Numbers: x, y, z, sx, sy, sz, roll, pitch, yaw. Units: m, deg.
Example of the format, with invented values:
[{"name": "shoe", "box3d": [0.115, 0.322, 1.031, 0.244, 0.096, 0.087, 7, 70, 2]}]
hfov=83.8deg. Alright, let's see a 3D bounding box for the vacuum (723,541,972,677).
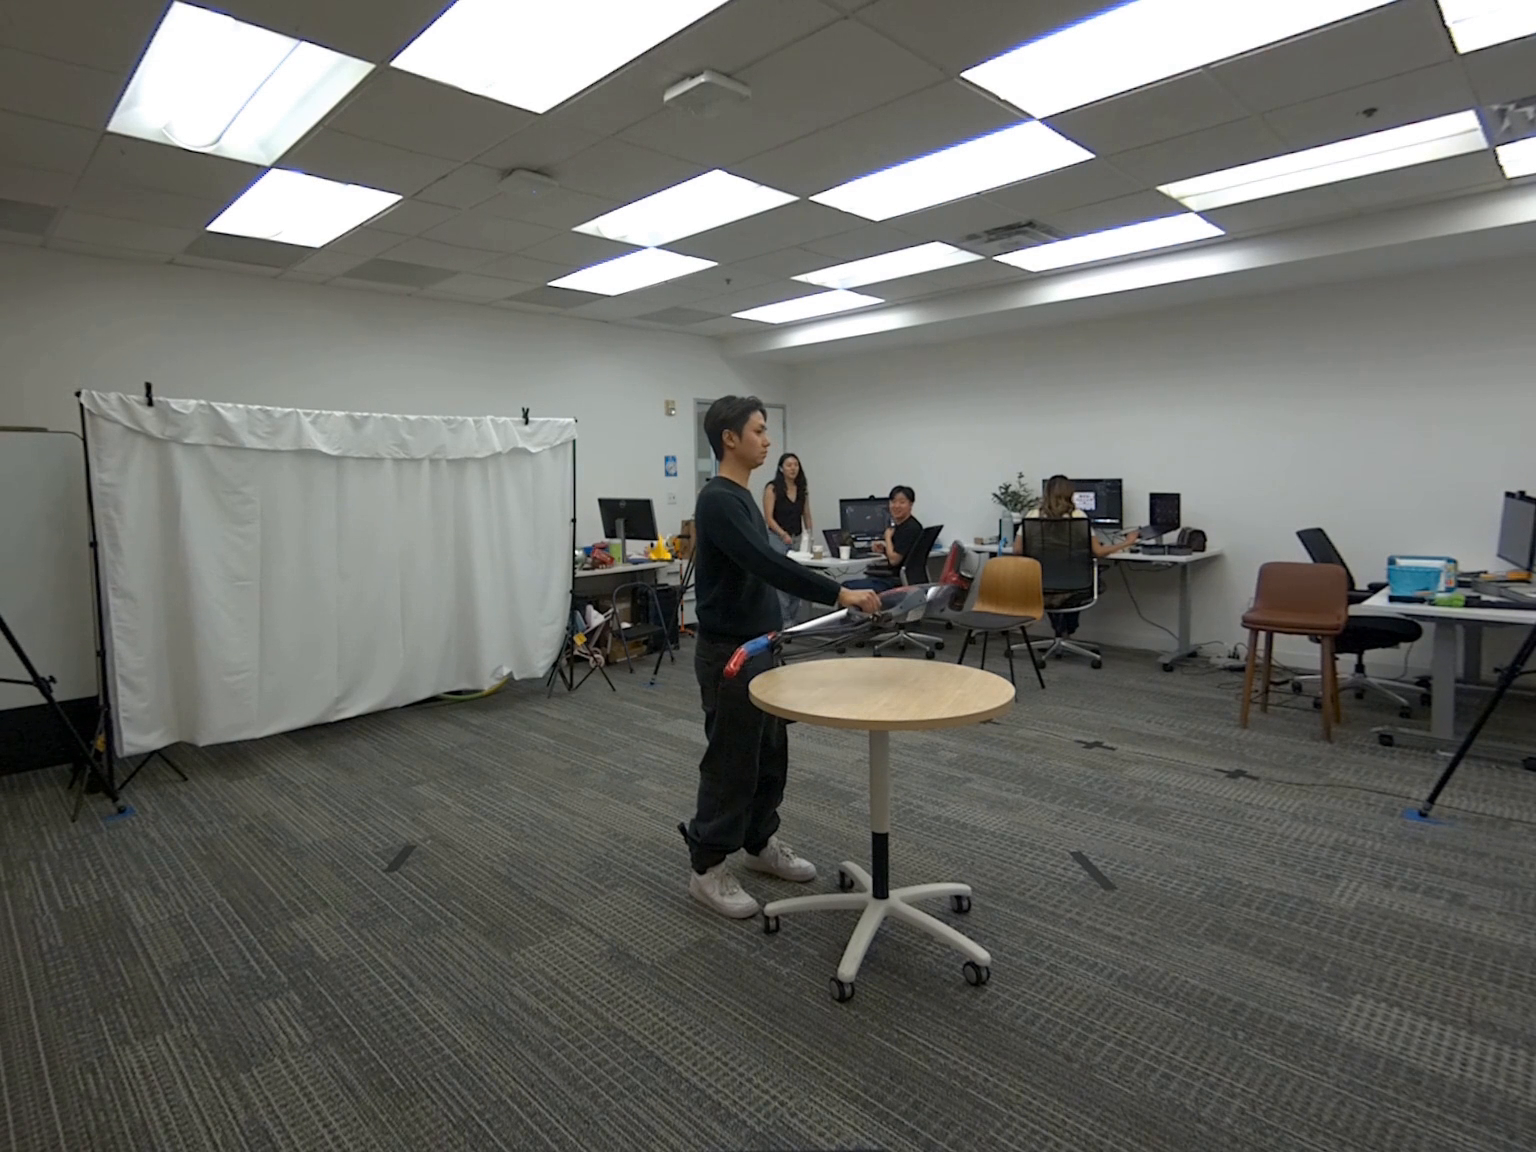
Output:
[{"name": "vacuum", "box3d": [0.257, 0.135, 2.474, 1.028, 0.248, 0.149, -18, 40, -42]}]
